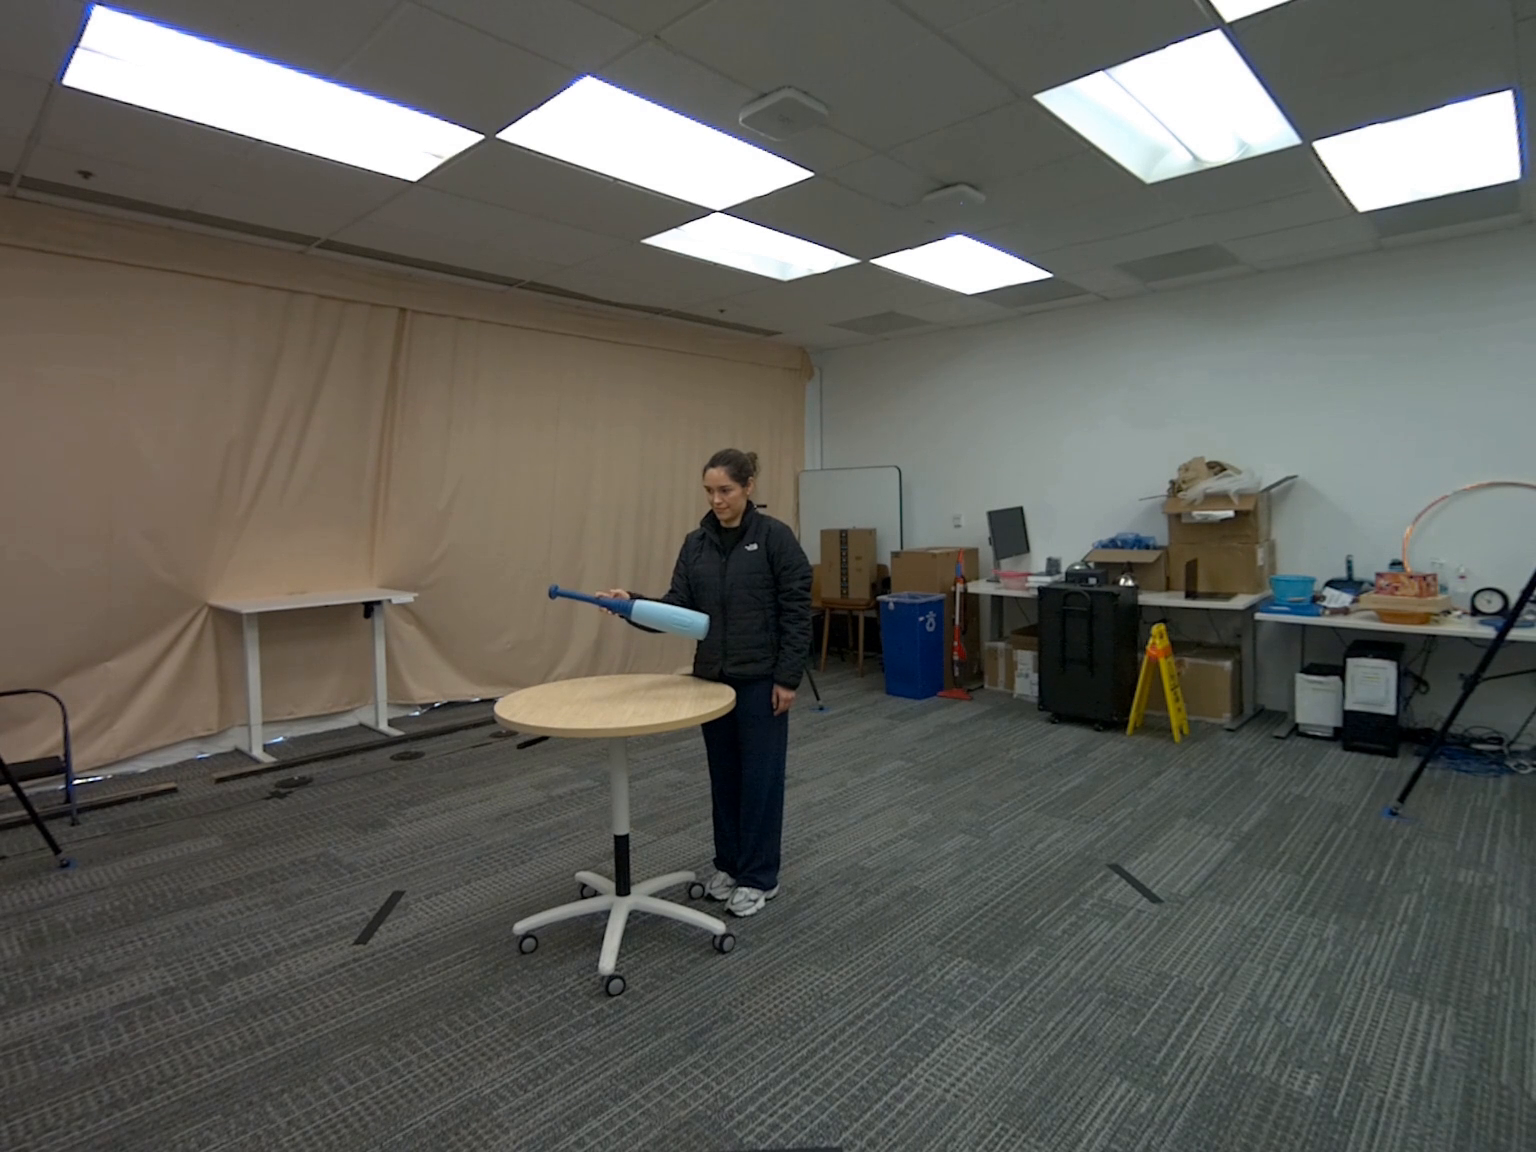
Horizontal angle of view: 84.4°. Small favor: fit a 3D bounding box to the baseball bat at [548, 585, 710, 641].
[{"bbox_3d":[-0.465,0.102,2.753,0.549,0.089,0.088,13,6,9],"label":"baseball bat"}]
